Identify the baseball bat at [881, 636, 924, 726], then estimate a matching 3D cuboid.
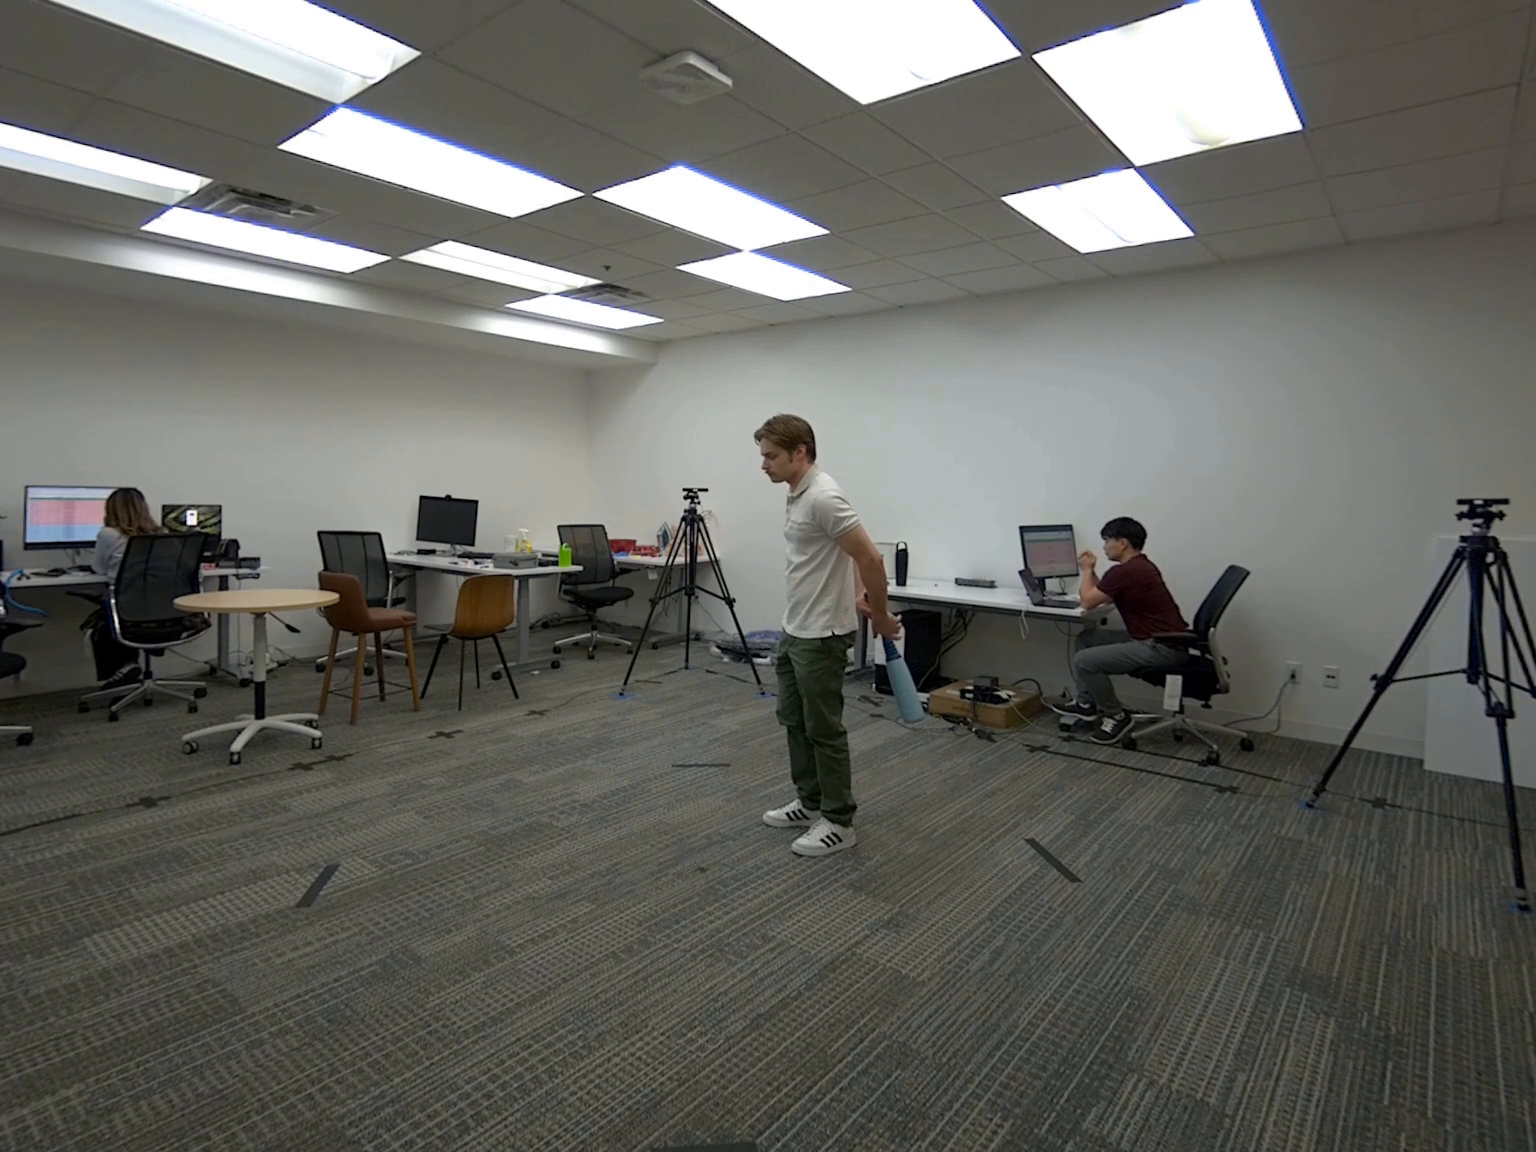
[{"bbox_3d":[0.484,0.319,3.382,0.089,0.550,0.088,-16,-11,-4],"label":"baseball bat"}]
